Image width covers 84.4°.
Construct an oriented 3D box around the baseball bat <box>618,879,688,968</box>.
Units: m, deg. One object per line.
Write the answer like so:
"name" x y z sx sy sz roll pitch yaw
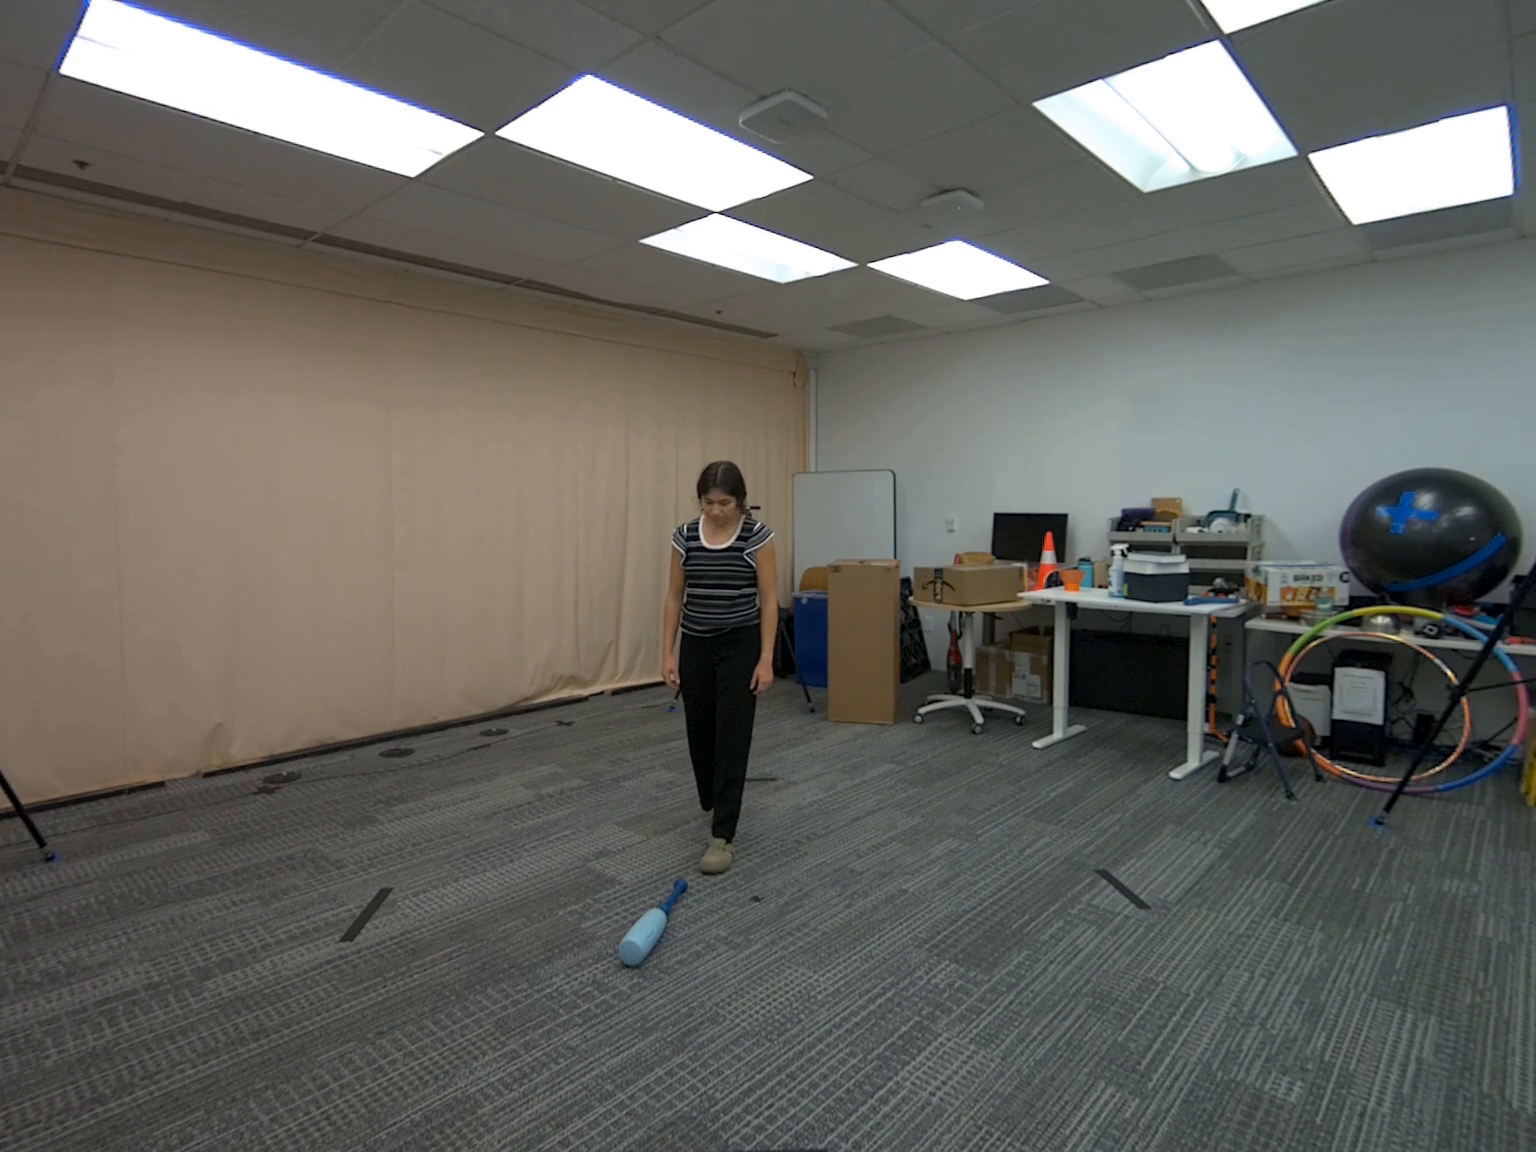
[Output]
"baseball bat" -0.360 1.124 2.786 0.090 0.089 0.536 1 1 11
